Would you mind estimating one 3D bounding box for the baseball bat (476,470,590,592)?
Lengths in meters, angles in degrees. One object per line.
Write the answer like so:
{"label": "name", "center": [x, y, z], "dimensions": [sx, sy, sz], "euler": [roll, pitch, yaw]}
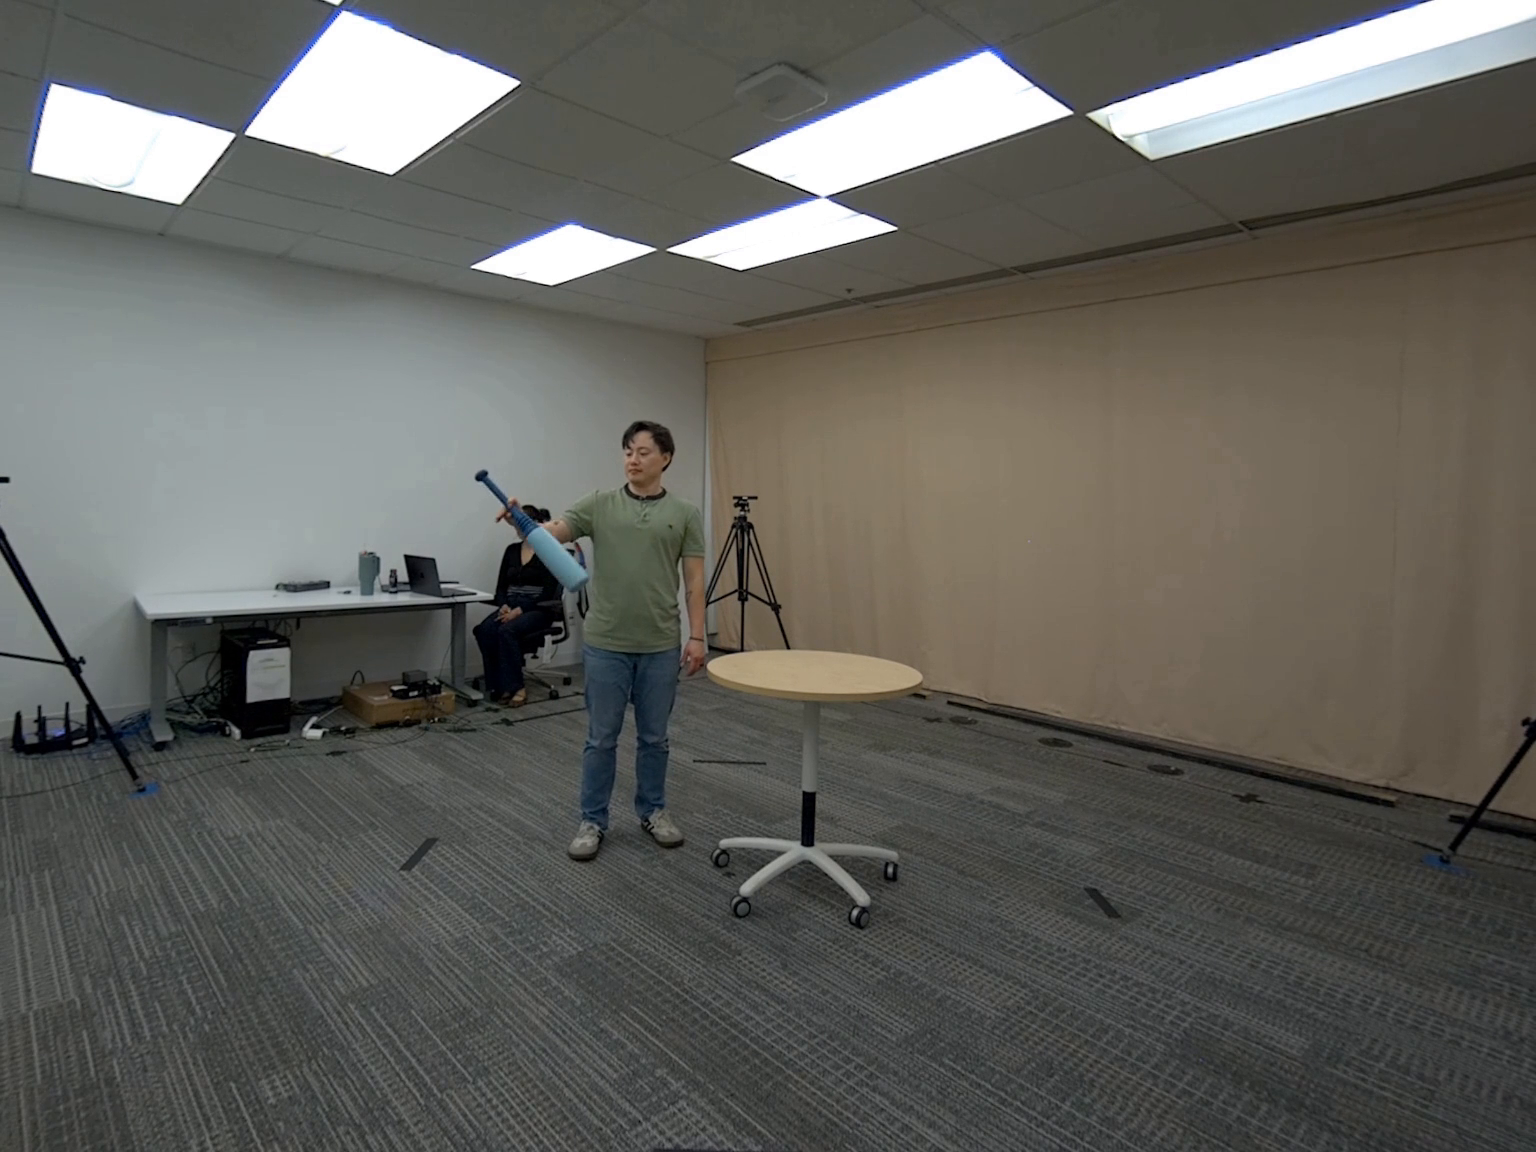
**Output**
{"label": "baseball bat", "center": [-0.837, -0.160, 2.877], "dimensions": [0.547, 0.089, 0.088], "euler": [46, 11, 7]}
